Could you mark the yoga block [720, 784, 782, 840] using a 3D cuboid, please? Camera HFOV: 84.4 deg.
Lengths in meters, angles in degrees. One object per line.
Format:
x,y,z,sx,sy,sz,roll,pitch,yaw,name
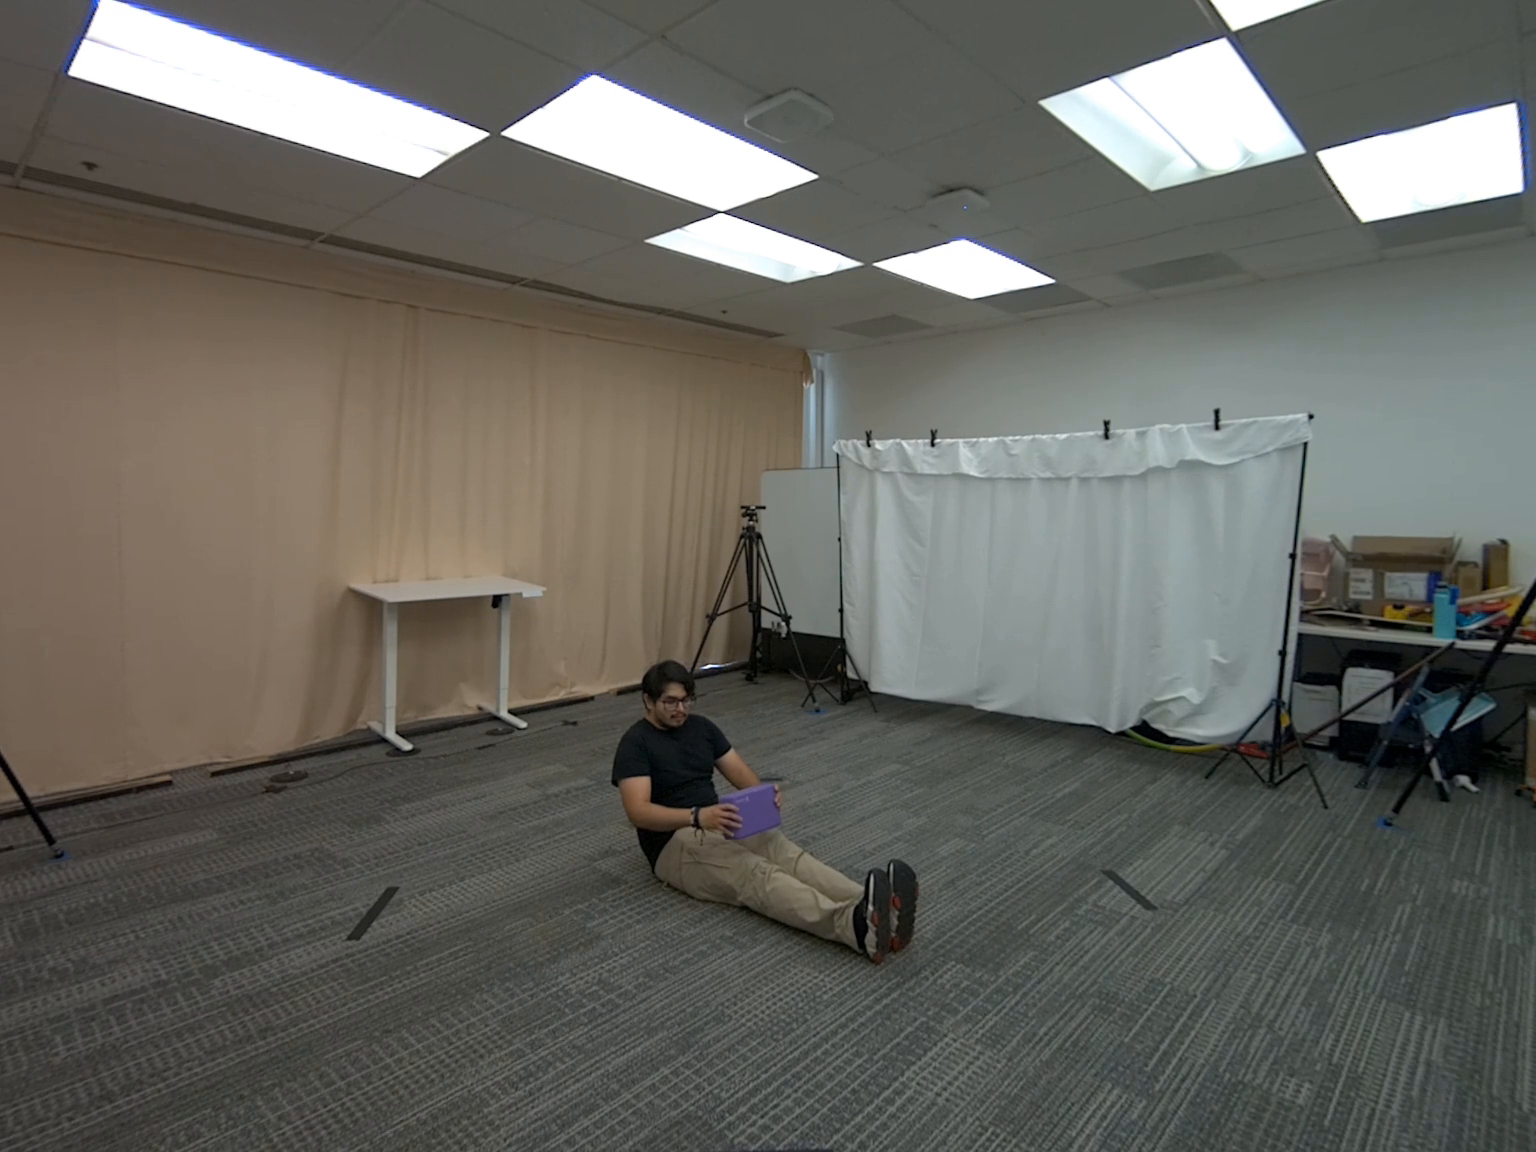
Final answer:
-0.062,0.828,2.958,0.222,0.150,0.078,-1,-12,-44,yoga block
